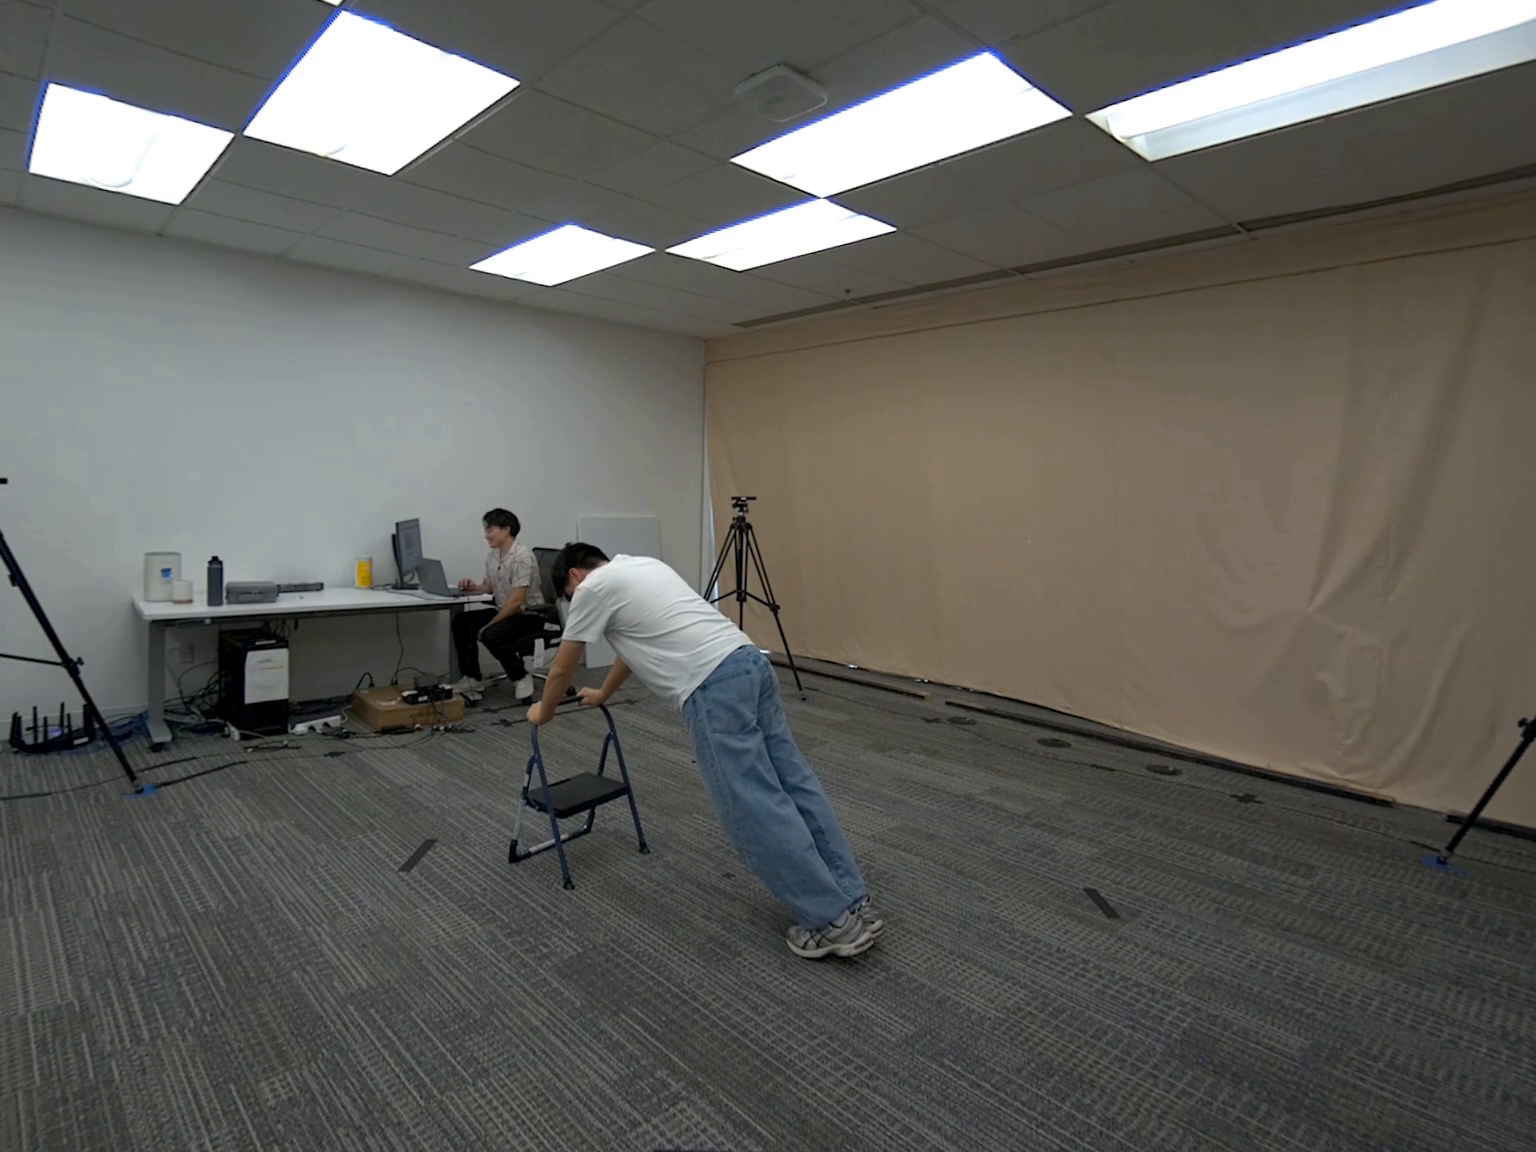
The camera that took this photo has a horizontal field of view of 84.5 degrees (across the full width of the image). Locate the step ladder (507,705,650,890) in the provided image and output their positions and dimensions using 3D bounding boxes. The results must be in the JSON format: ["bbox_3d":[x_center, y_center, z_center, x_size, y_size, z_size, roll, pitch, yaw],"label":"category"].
[{"bbox_3d":[-0.726,0.779,3.223,0.357,0.605,0.421,3,4,34],"label":"step ladder"}]
